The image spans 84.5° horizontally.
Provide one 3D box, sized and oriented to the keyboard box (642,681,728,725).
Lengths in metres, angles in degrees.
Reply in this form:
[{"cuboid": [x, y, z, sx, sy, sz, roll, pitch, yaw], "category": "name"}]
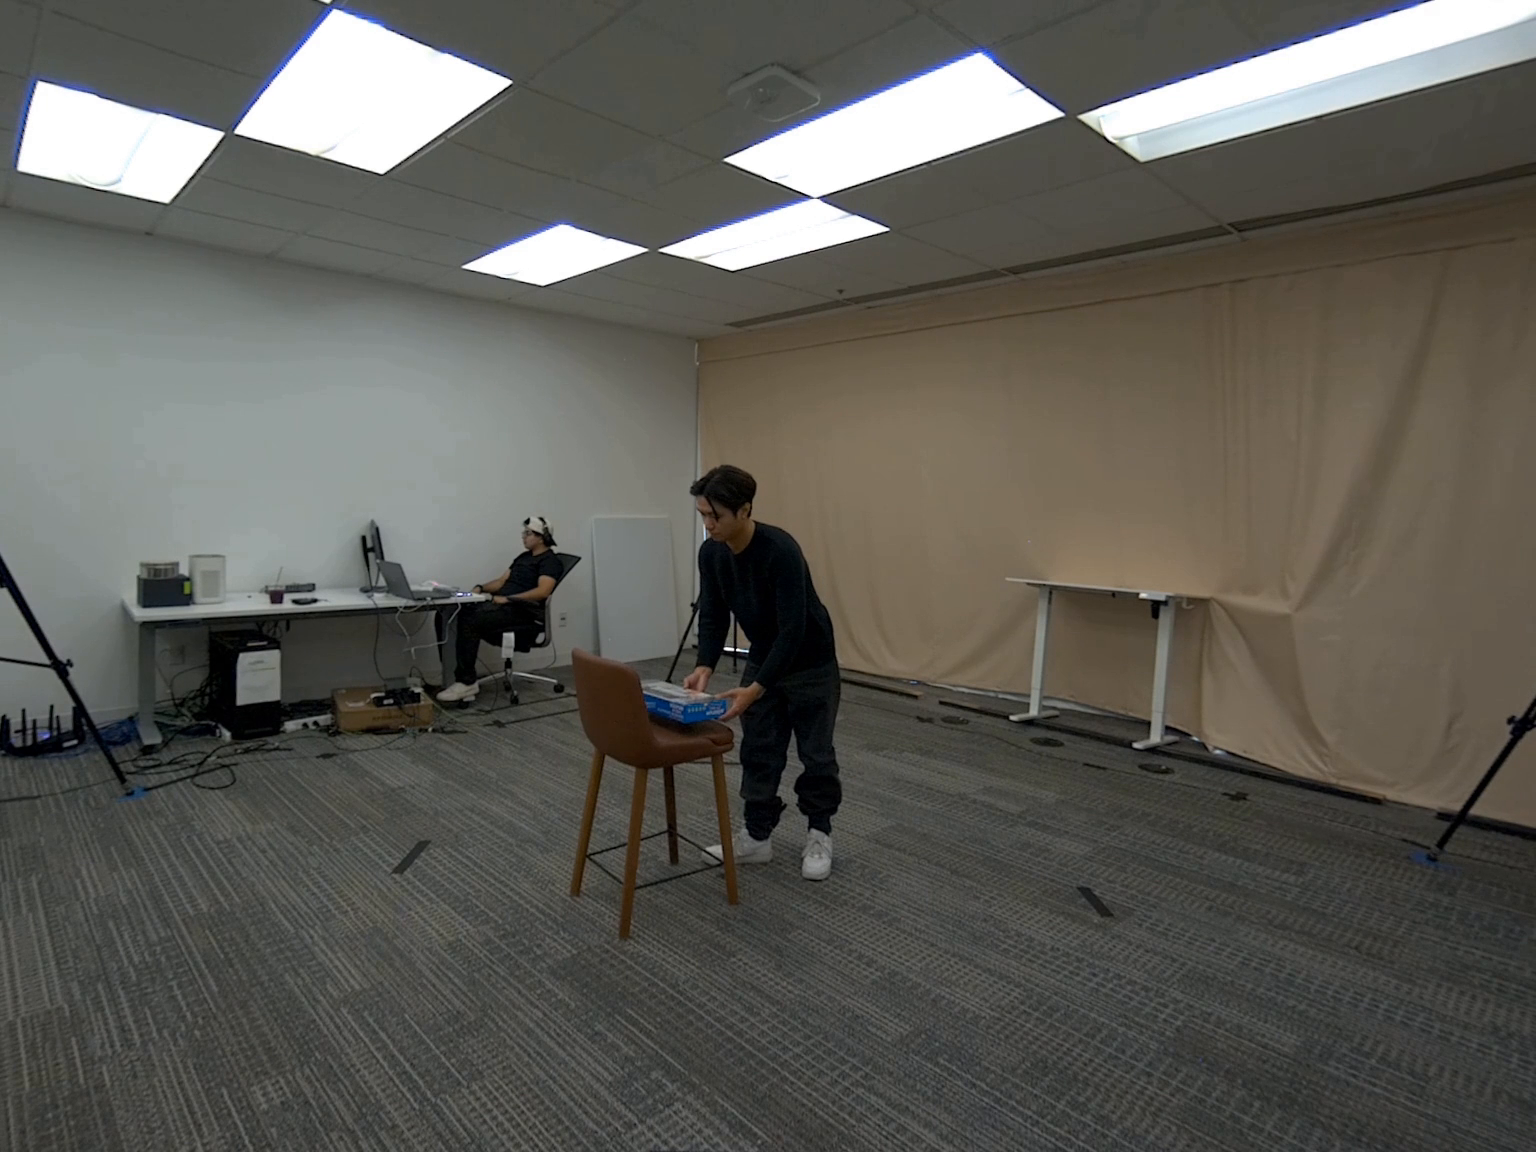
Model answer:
[{"cuboid": [-0.346, 0.428, 2.939, 0.172, 0.059, 0.447, -1, 4, -39], "category": "keyboard box"}]
